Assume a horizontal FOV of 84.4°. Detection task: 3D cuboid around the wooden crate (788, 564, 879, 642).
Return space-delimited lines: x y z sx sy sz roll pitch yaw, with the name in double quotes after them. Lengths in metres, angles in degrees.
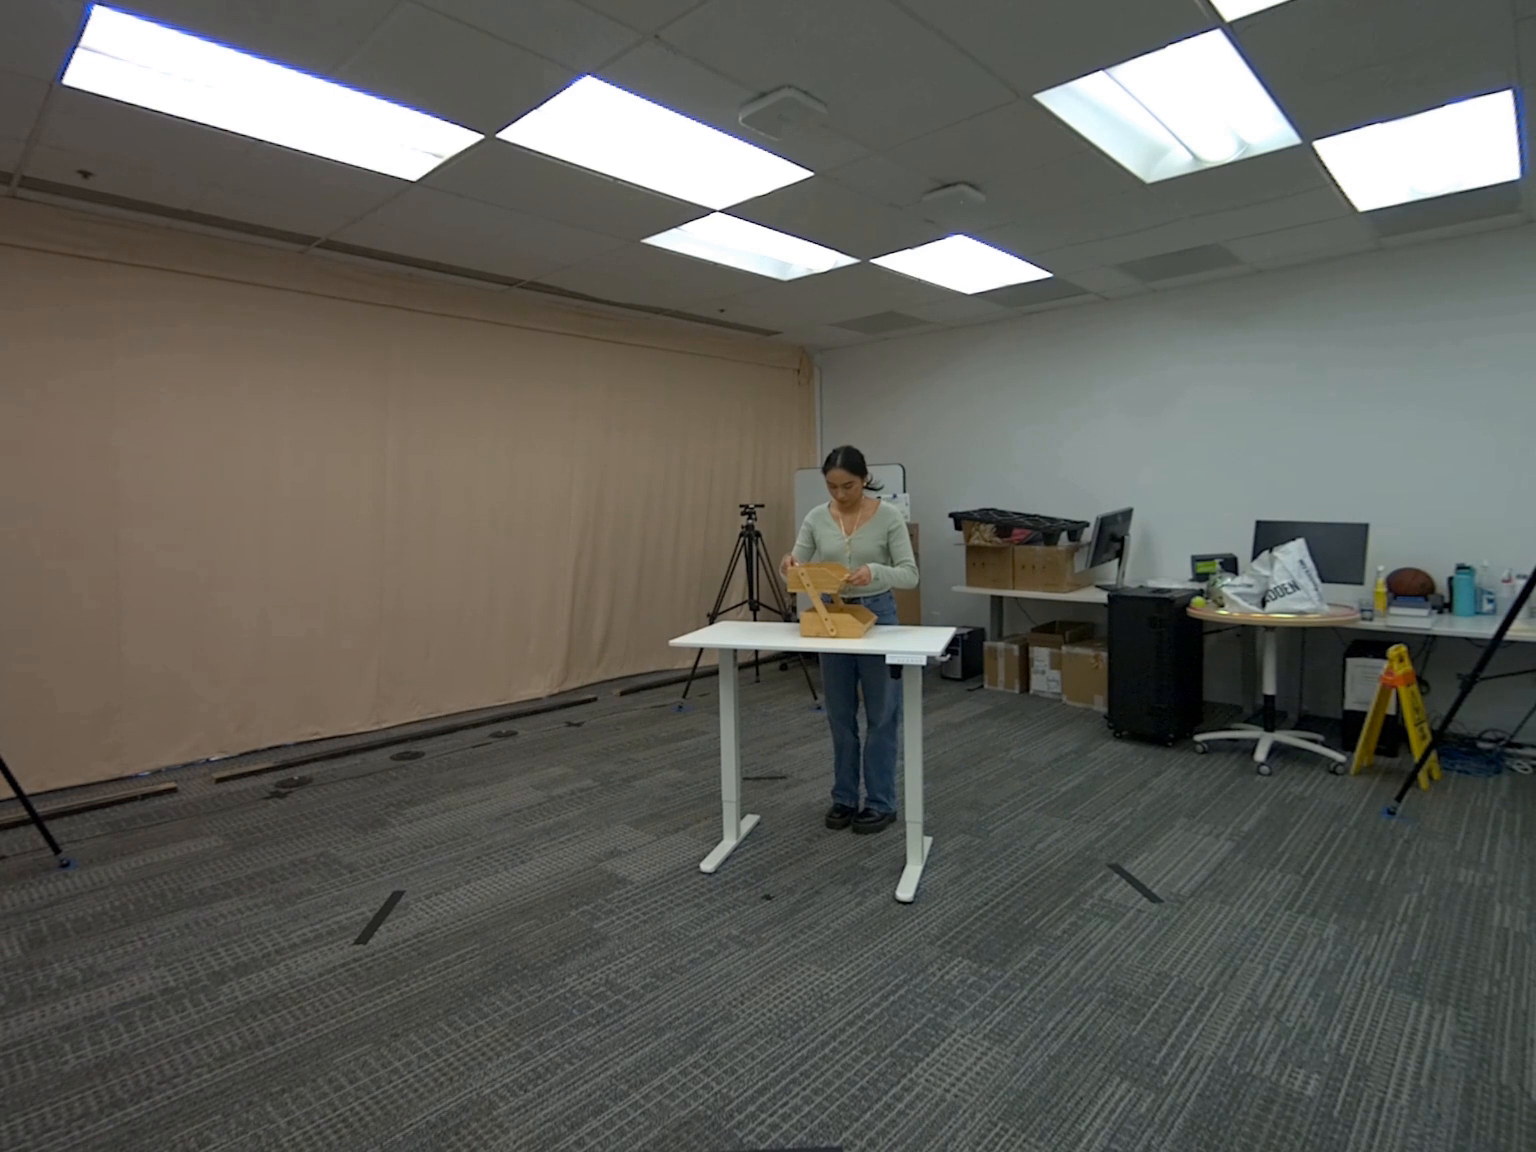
0.260 0.086 3.317 0.307 0.272 0.319 1 5 16 "wooden crate"
